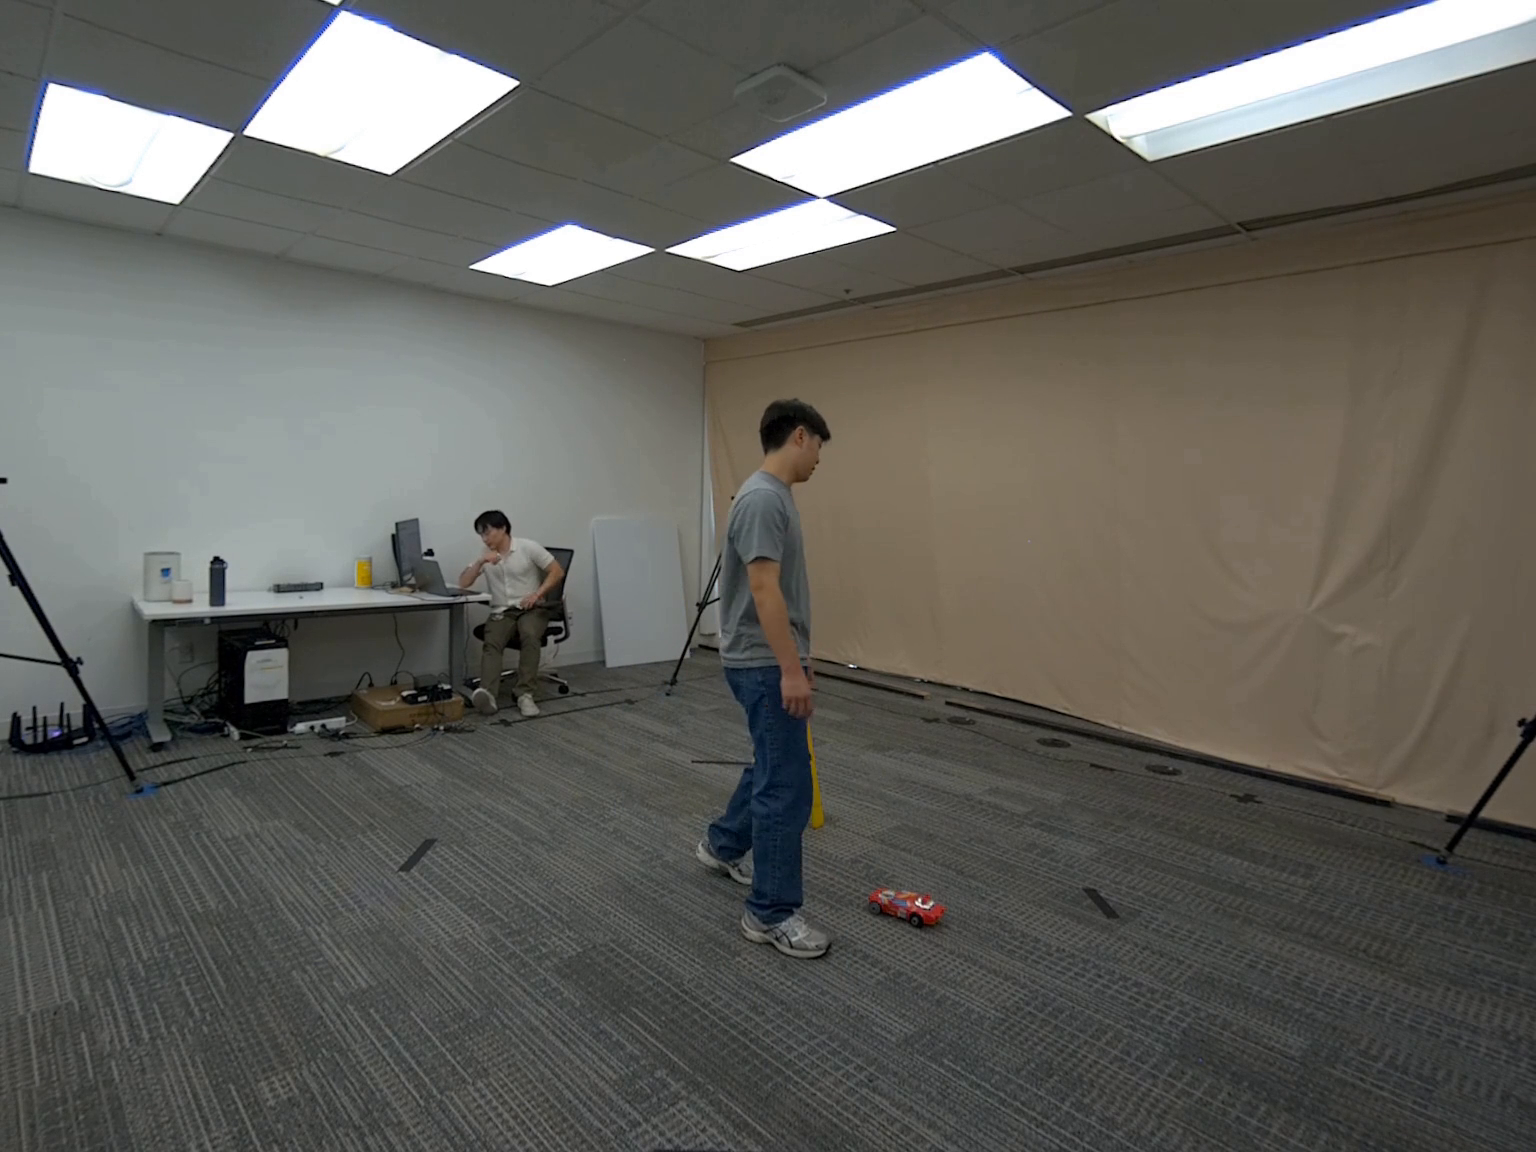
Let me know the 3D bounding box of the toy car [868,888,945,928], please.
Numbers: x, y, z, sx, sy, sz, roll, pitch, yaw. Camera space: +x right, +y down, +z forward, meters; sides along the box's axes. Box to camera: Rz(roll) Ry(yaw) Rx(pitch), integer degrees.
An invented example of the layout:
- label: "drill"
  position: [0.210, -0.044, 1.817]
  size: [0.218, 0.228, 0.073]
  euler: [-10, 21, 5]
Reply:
- label: "toy car"
  position: [0.466, 1.115, 2.824]
  size: [0.259, 0.083, 0.127]
  euler: [-7, -1, 34]
